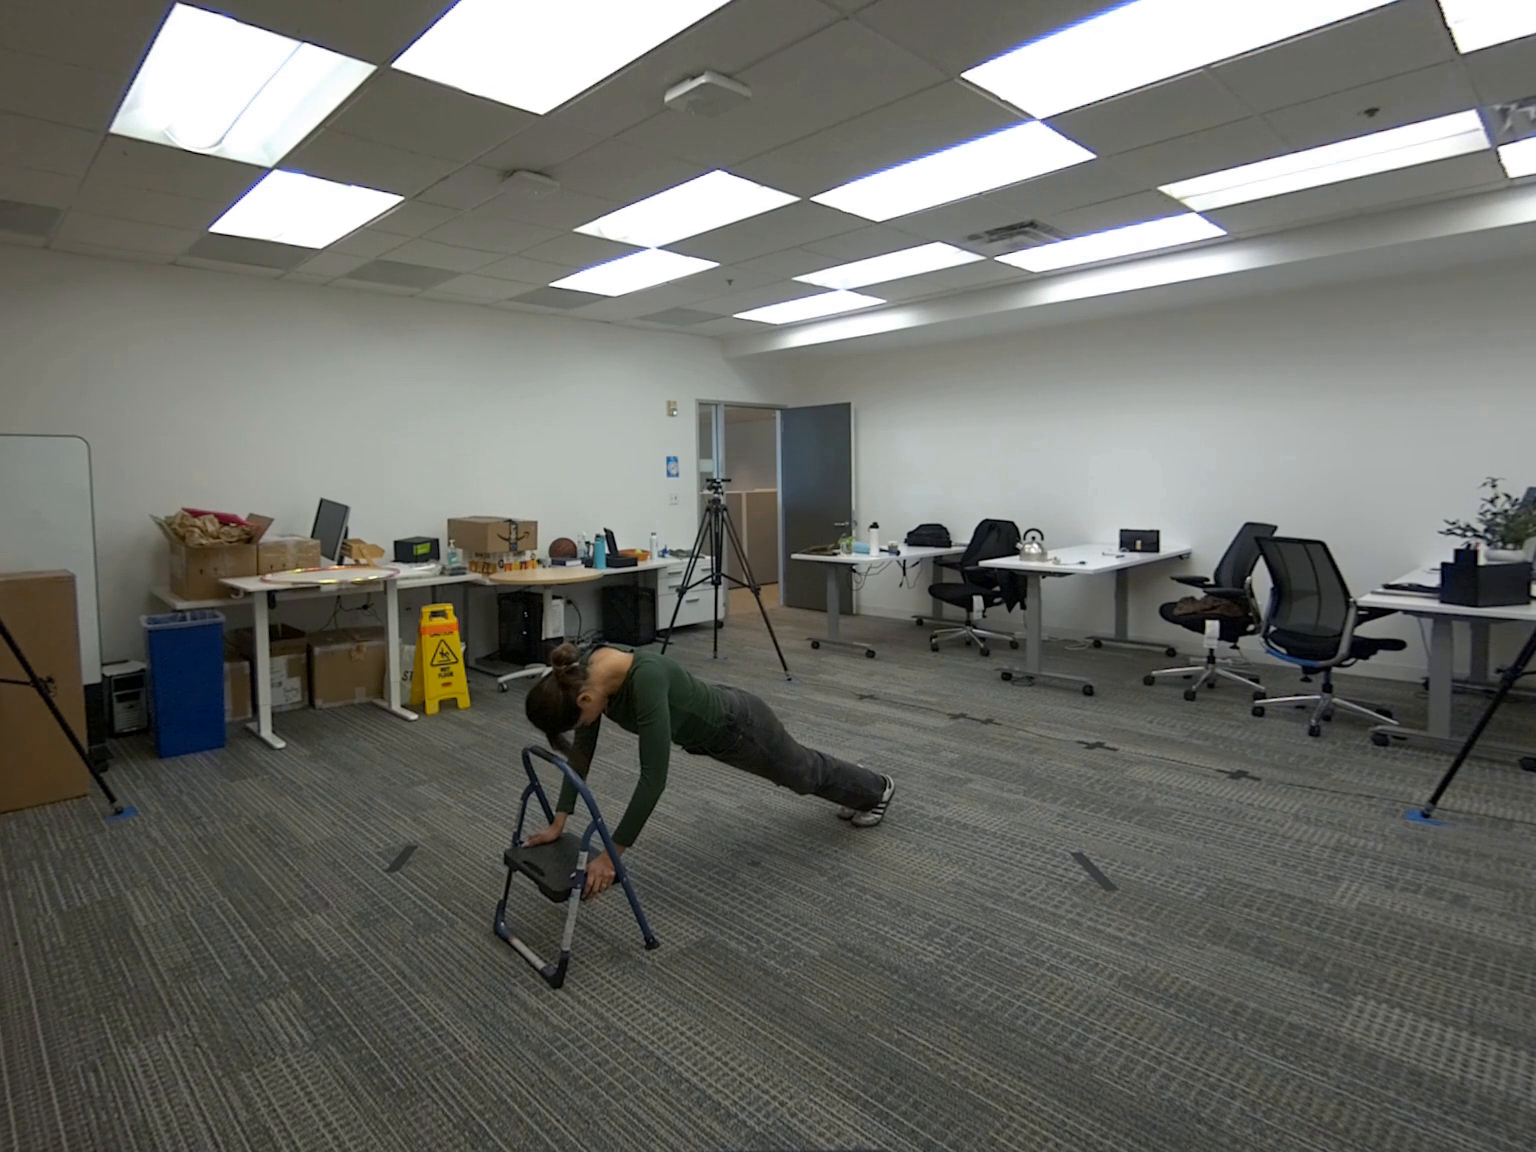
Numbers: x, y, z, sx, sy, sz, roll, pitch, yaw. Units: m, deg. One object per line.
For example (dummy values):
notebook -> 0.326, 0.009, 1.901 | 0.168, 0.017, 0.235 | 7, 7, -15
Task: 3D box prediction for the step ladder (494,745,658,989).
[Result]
step ladder -> -0.599, 0.813, 2.603 | 0.340, 0.604, 0.444 | -5, 6, -41
